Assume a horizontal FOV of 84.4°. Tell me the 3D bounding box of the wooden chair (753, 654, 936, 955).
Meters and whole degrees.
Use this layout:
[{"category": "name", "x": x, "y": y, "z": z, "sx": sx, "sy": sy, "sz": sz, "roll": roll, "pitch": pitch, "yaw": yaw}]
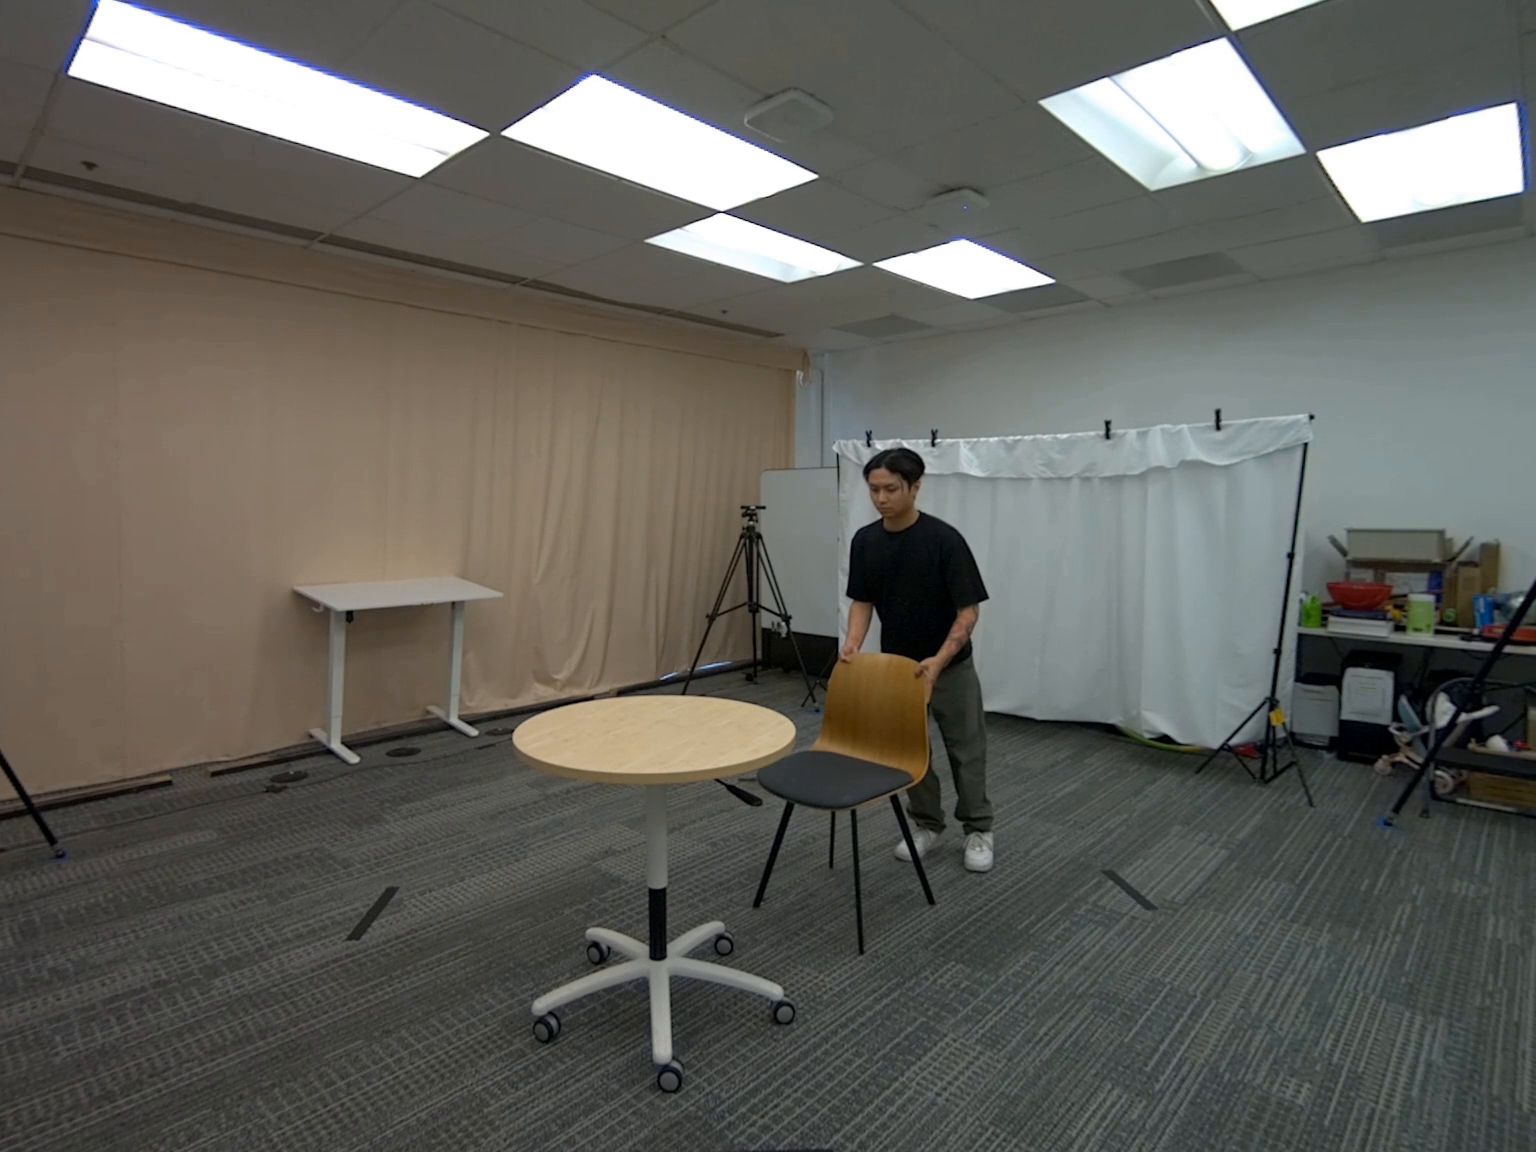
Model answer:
[{"category": "wooden chair", "x": 0.263, "y": 0.722, "z": 2.888, "sx": 0.494, "sy": 0.877, "sz": 0.506, "roll": 3, "pitch": 1, "yaw": 42}]
